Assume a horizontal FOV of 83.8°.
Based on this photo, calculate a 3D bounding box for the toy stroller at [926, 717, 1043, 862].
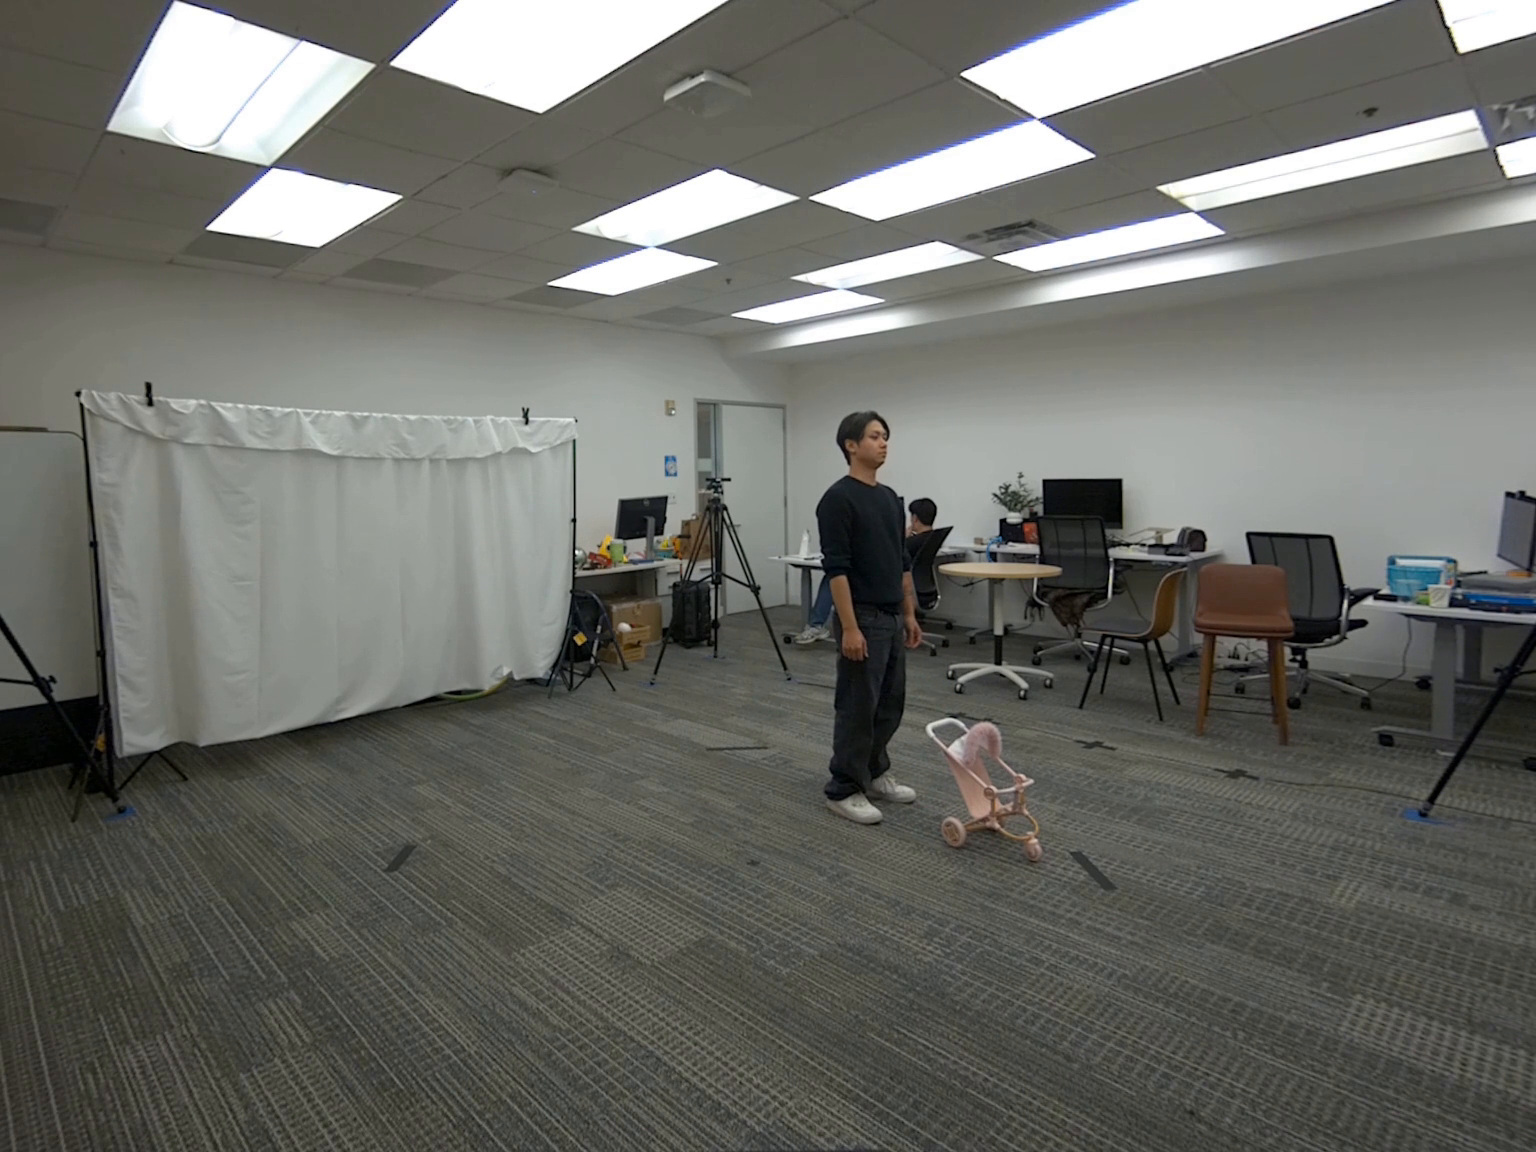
[{"bbox_3d":[0.829,0.791,3.227,0.274,0.542,0.345,-4,-13,-34],"label":"toy stroller"}]
